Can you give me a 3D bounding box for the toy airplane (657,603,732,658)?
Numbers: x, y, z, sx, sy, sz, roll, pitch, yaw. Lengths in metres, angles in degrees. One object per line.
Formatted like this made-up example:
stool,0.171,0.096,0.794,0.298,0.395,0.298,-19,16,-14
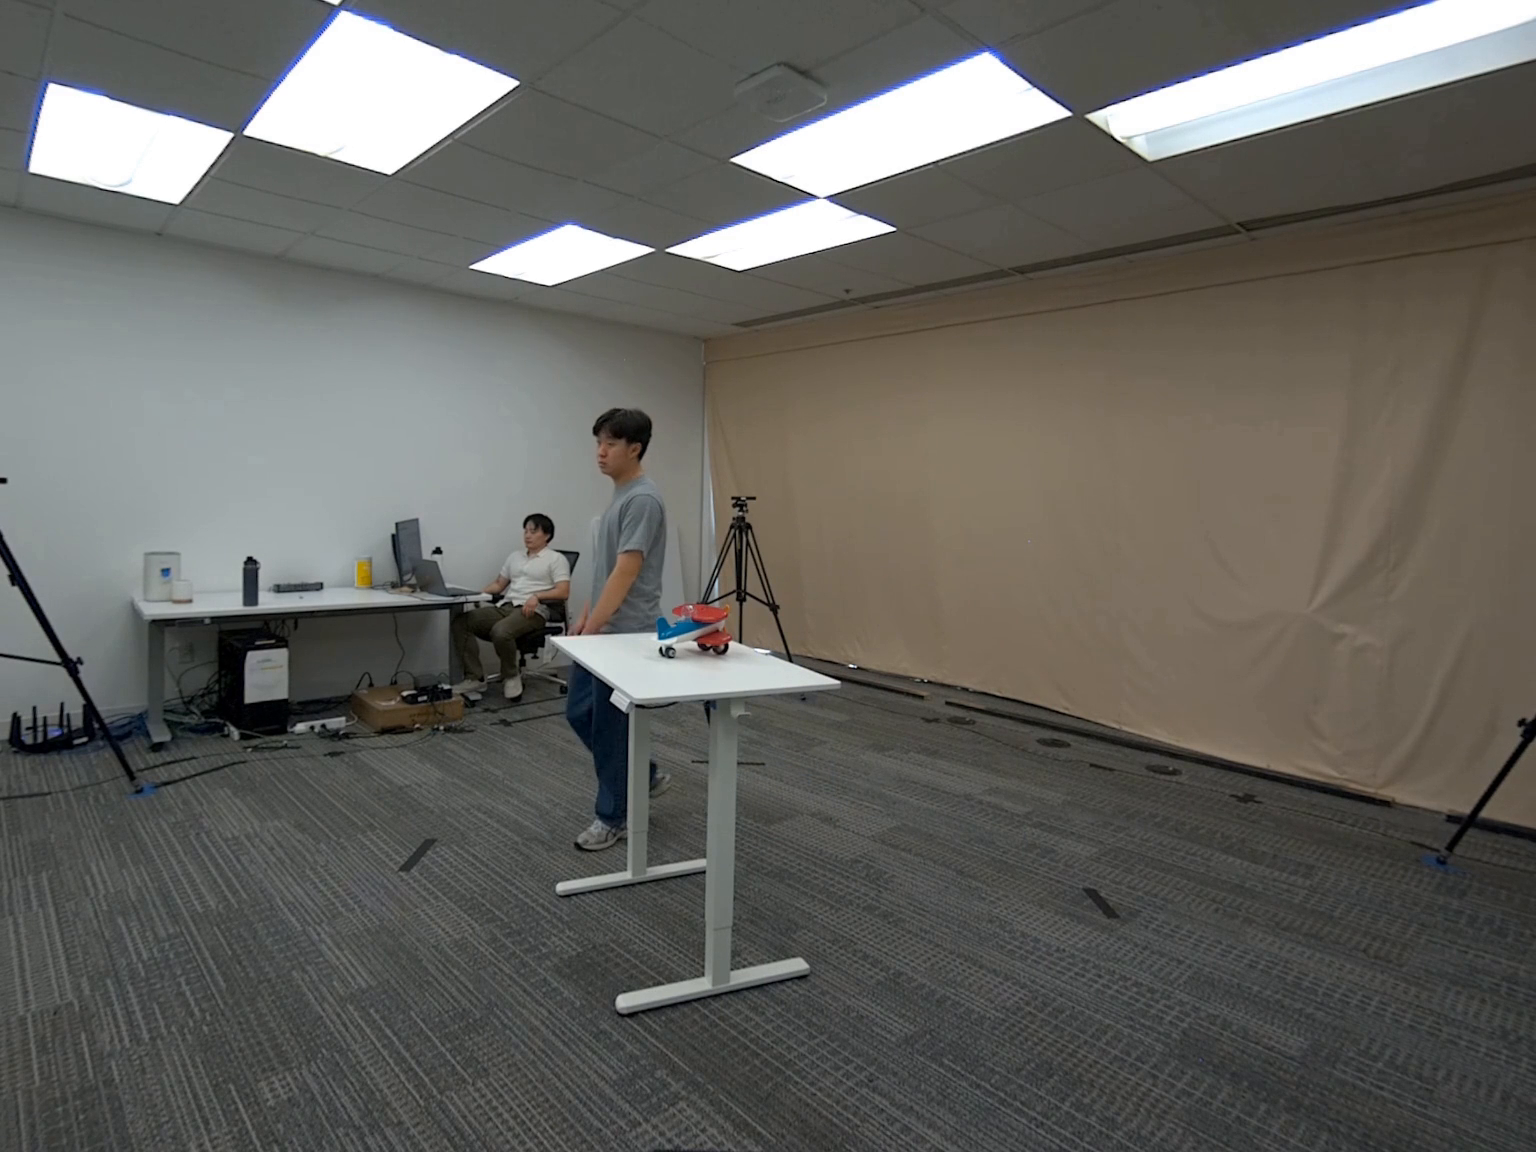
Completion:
toy airplane,-0.241,0.180,2.706,0.256,0.156,0.255,2,3,24
